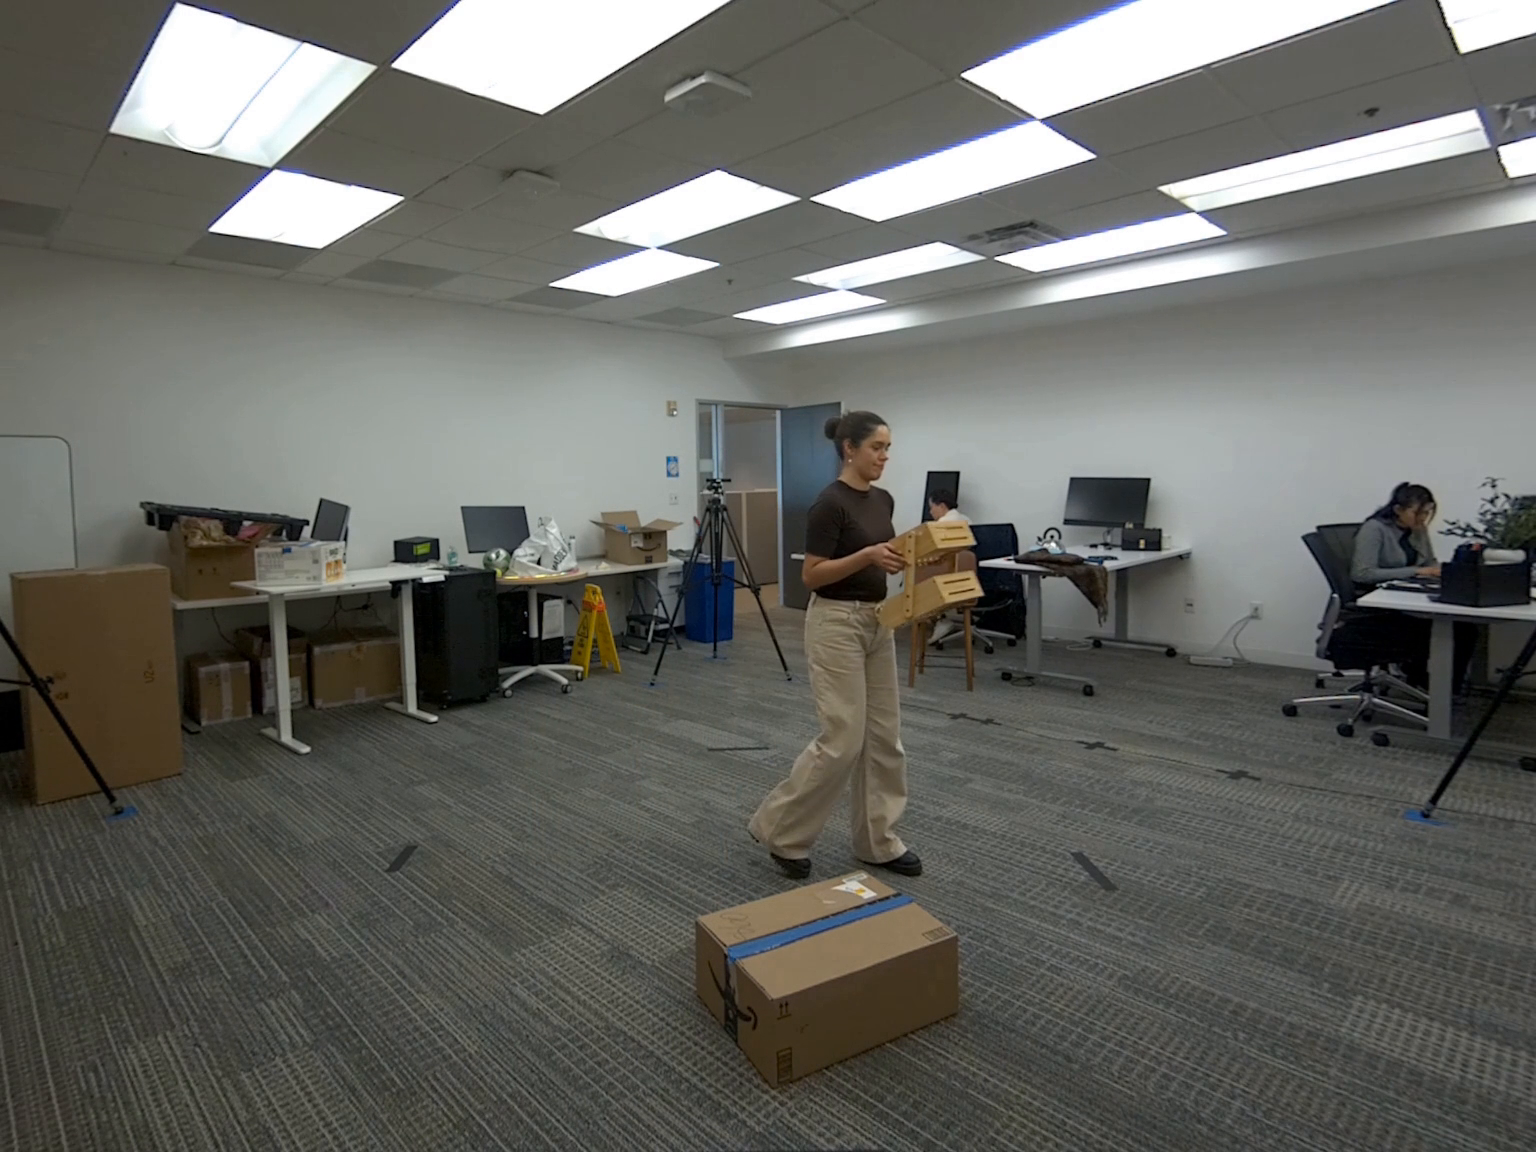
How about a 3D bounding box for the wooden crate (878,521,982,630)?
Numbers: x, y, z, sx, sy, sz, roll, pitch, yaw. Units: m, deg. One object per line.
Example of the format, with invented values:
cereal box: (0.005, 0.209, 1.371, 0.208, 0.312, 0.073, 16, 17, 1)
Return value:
wooden crate: (0.525, -0.003, 2.873, 0.305, 0.277, 0.316, -28, -15, 36)
